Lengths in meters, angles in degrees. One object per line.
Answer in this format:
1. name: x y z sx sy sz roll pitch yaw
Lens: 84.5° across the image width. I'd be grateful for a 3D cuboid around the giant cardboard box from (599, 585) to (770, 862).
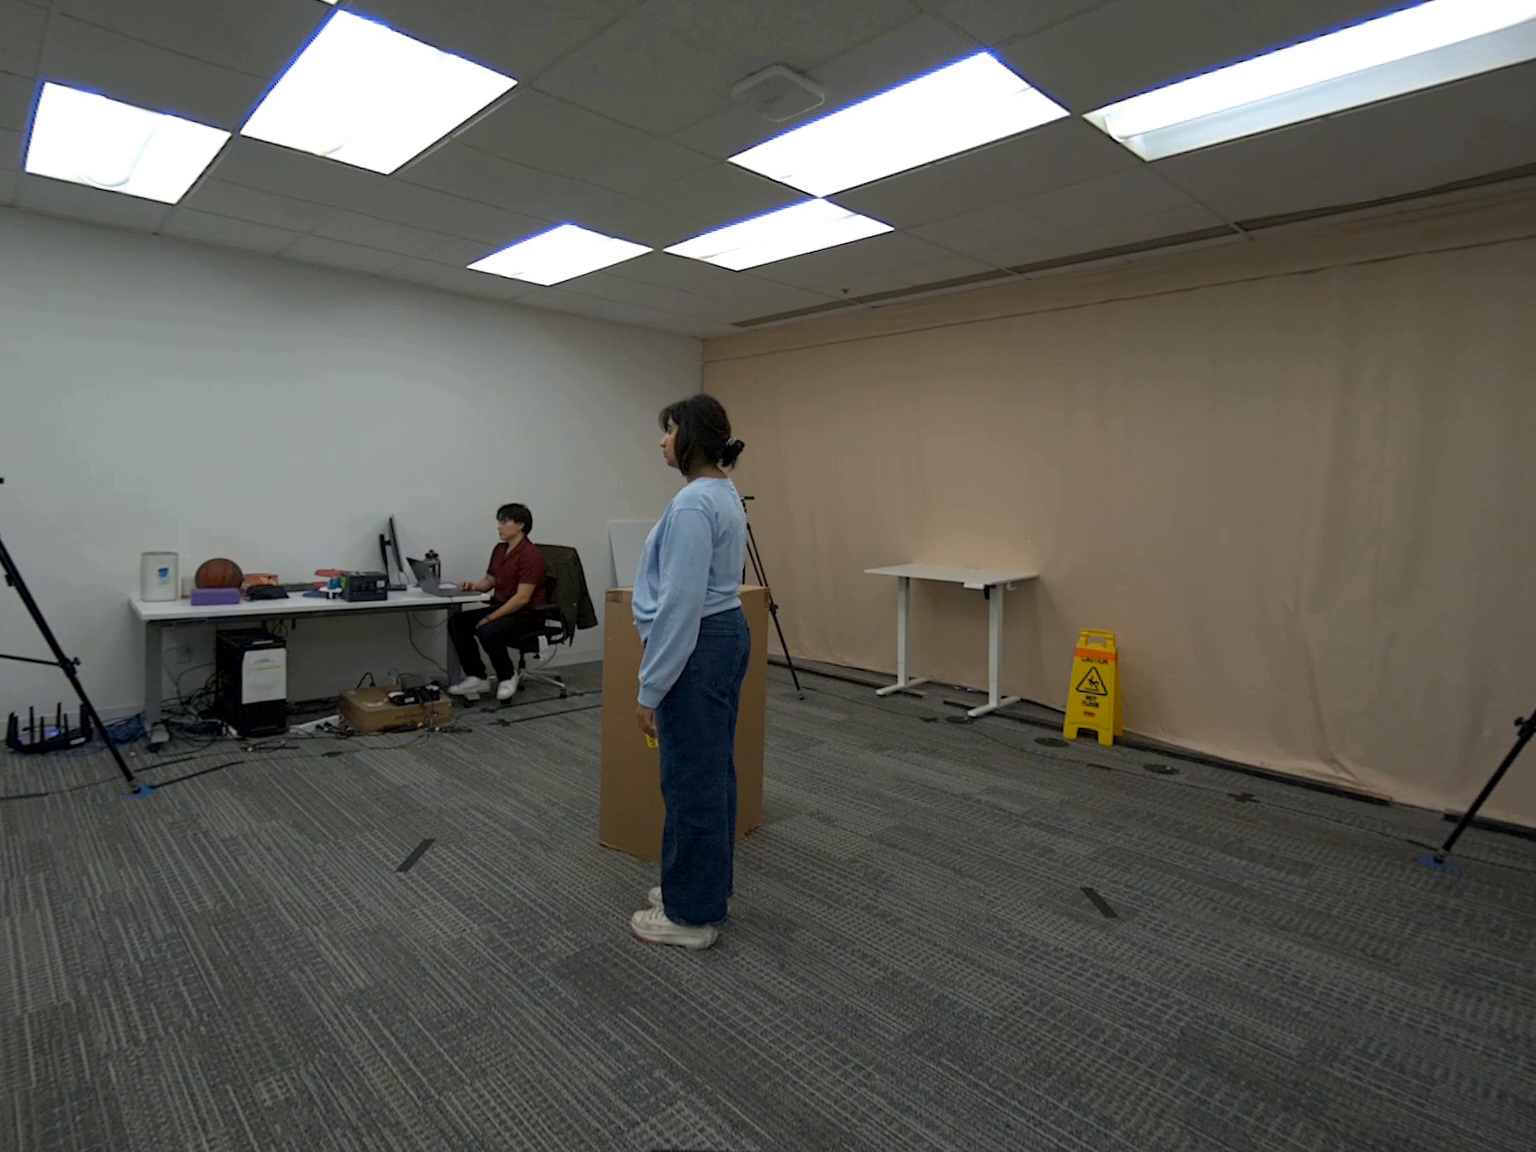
1. giant cardboard box: -0.334 0.562 3.453 0.457 1.025 0.572 3 3 31
